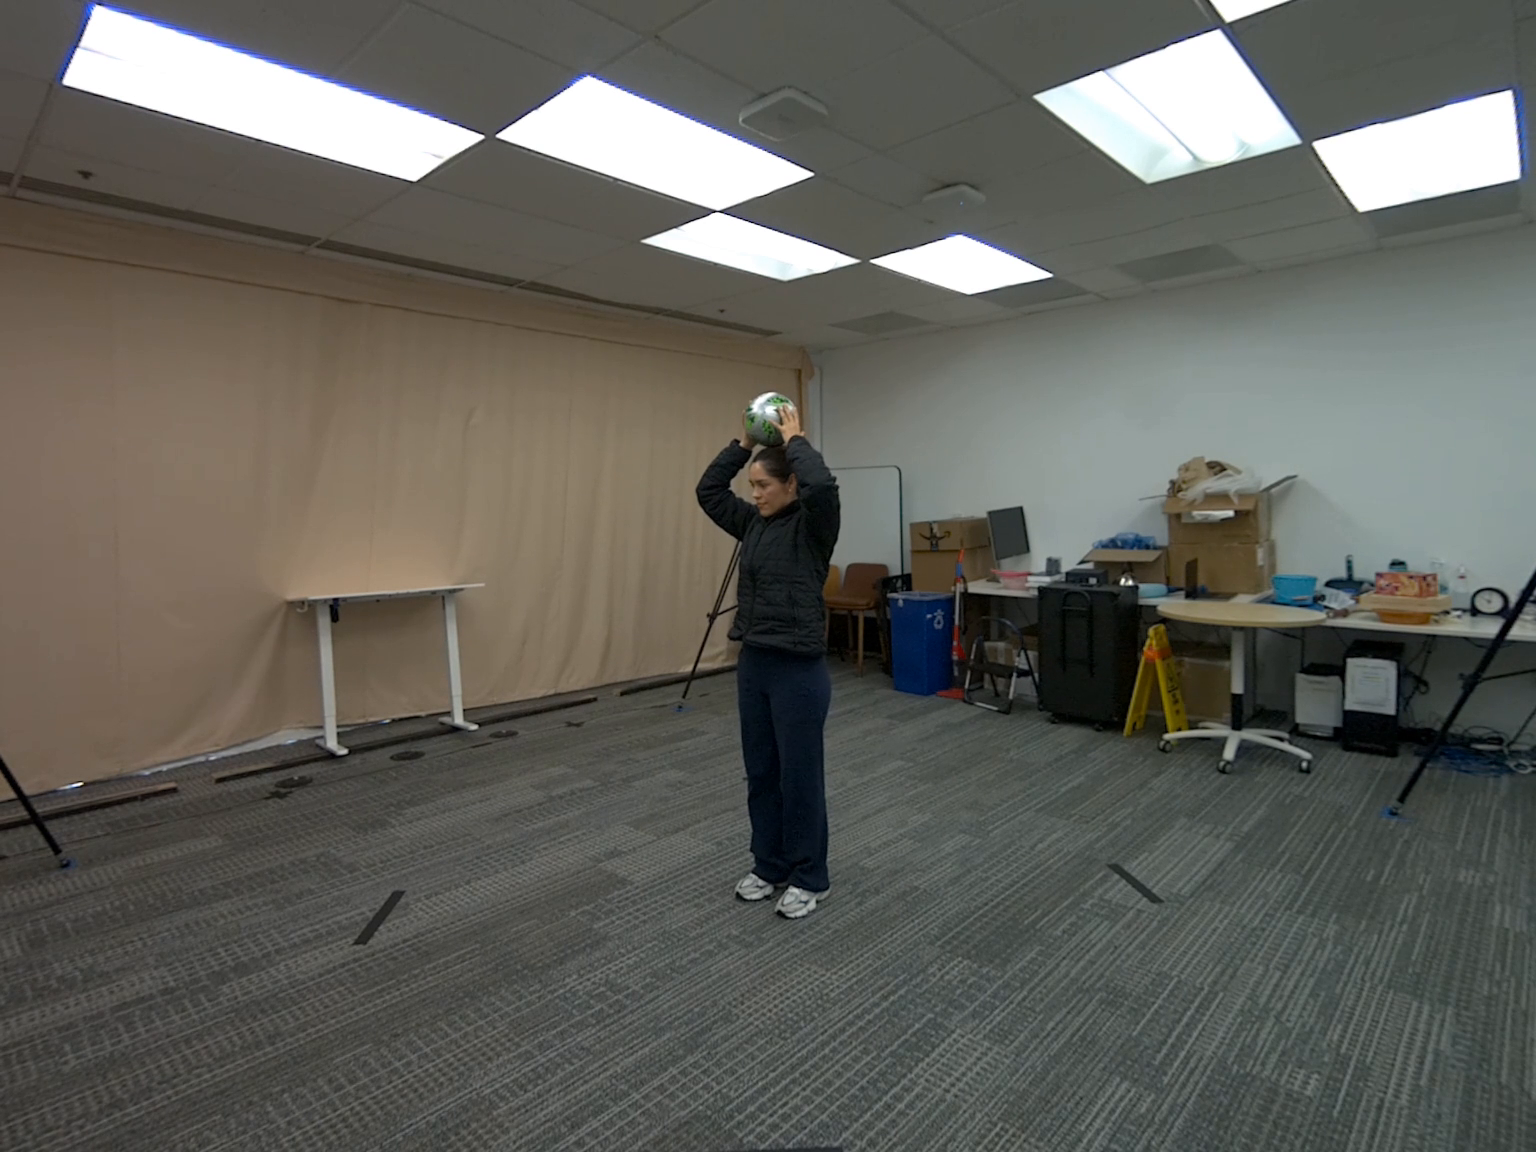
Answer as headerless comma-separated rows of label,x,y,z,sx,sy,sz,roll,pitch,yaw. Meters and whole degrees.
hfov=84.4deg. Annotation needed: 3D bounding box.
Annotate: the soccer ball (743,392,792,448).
soccer ball,0.015,-0.538,2.916,0.187,0.187,0.188,-1,4,-2
